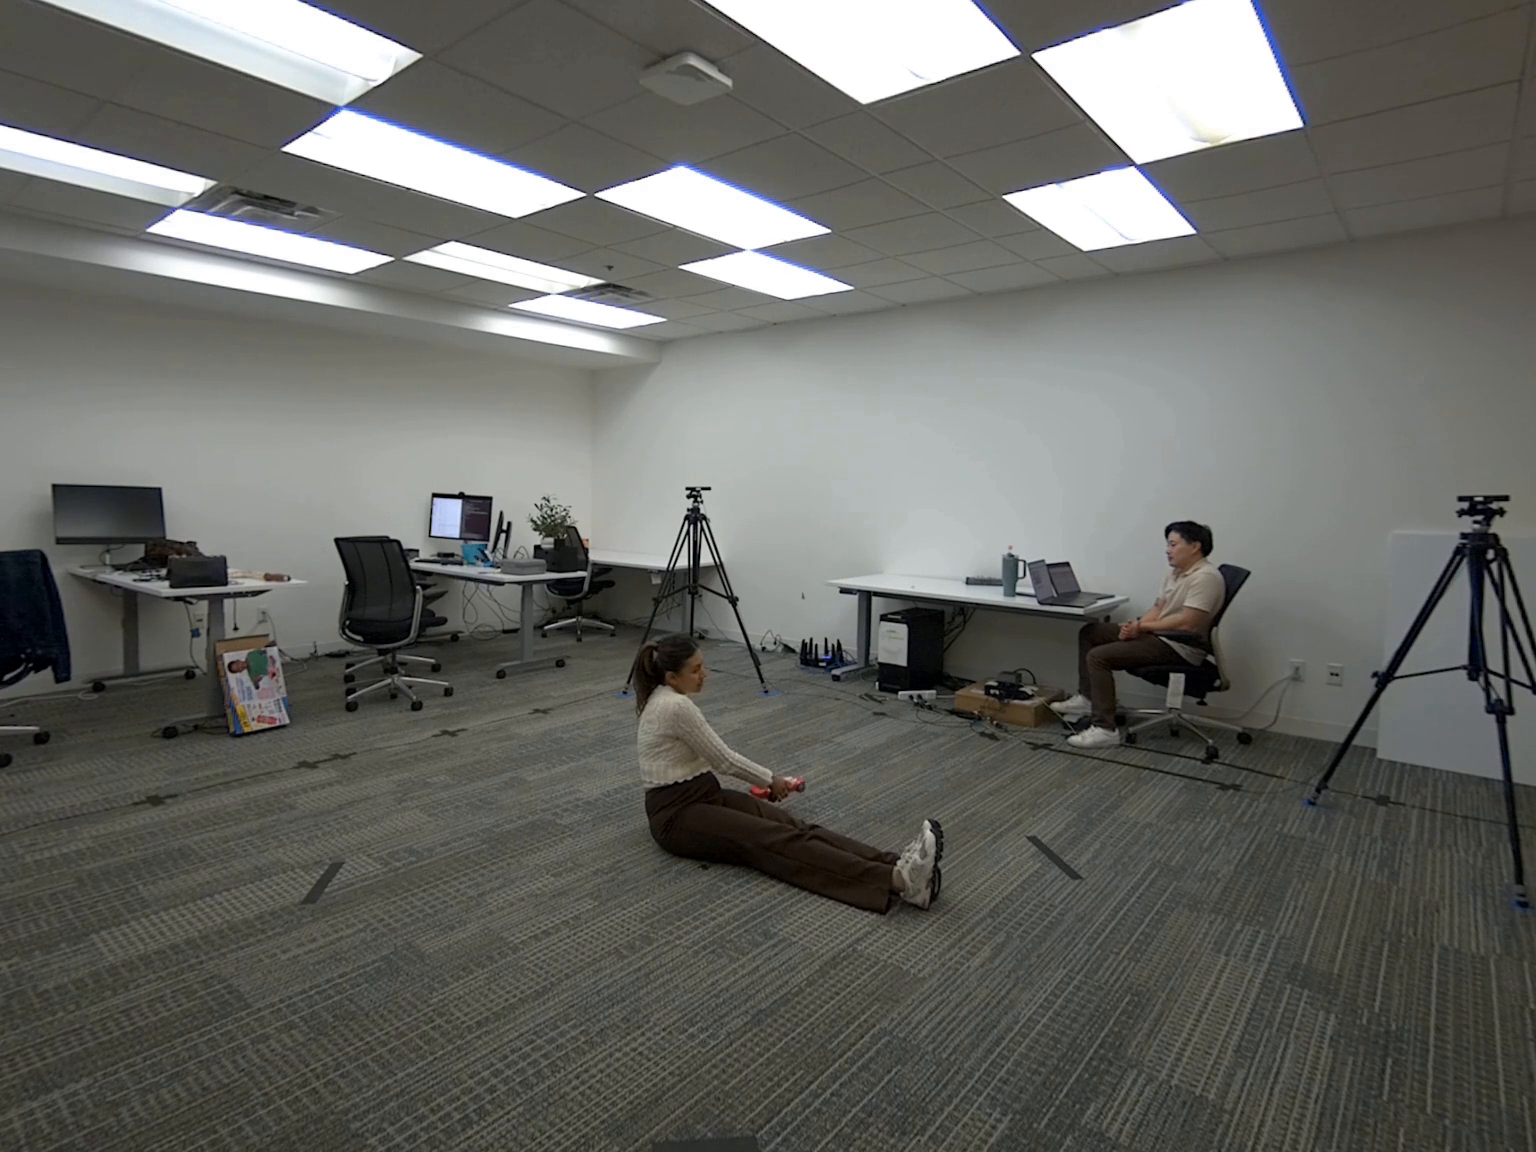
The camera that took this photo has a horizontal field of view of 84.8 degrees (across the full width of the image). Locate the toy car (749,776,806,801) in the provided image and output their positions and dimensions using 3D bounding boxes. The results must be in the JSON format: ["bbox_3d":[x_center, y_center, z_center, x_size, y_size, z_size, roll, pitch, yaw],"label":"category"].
[{"bbox_3d":[0.028,0.902,3.618,0.247,0.083,0.134,3,-1,-30],"label":"toy car"}]
